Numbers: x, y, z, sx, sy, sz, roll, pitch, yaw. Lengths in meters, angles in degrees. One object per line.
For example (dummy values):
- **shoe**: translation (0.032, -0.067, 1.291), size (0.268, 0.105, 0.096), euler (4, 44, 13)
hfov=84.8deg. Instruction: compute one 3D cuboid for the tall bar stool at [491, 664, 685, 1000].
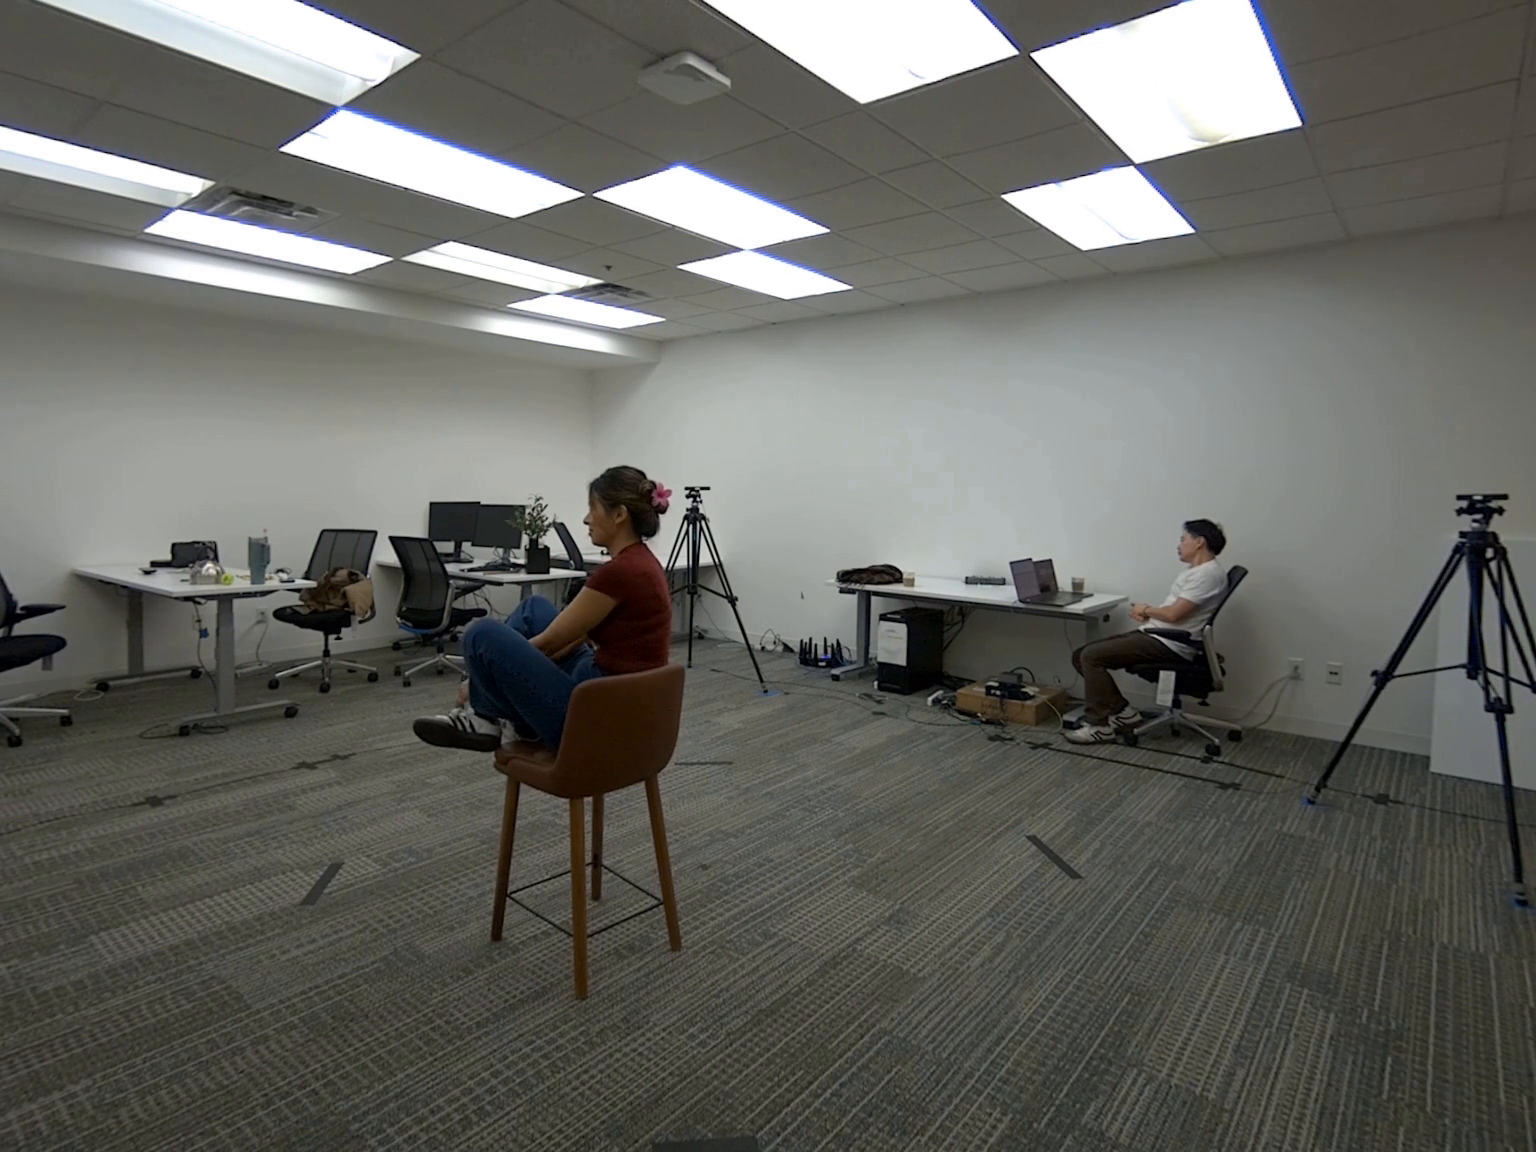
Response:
- **tall bar stool**: translation (-0.548, 0.683, 2.549), size (0.484, 0.885, 0.443), euler (7, 7, 43)
